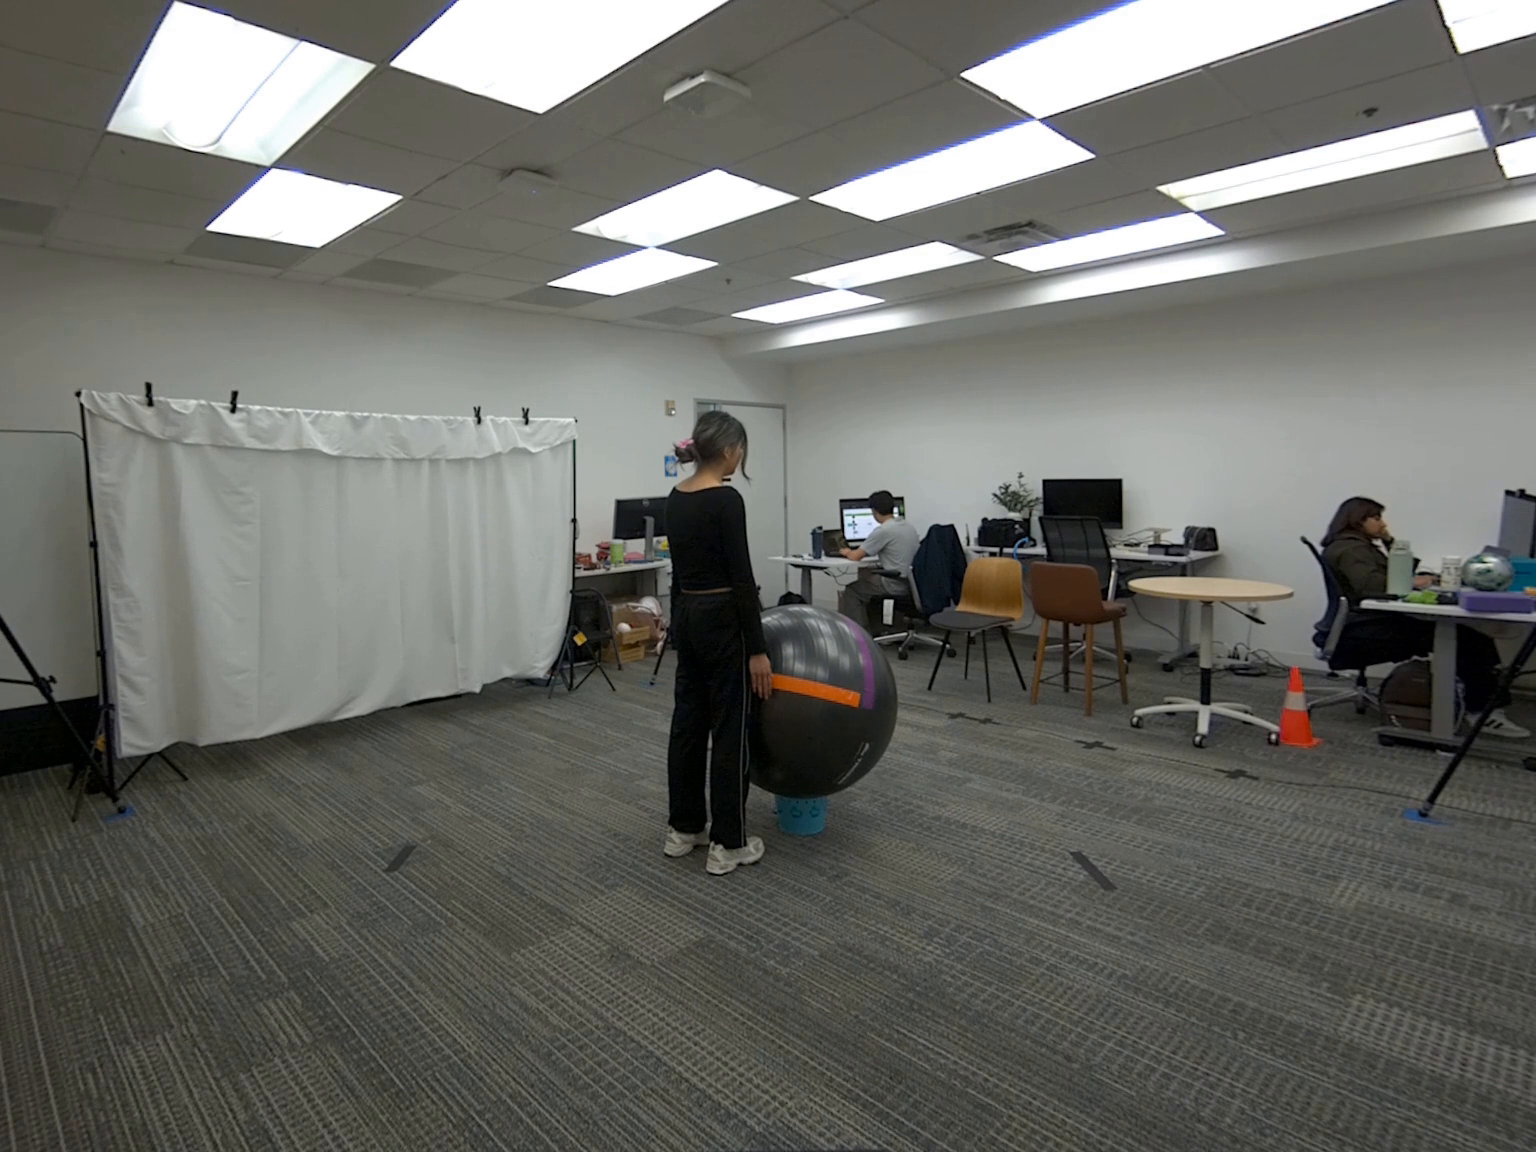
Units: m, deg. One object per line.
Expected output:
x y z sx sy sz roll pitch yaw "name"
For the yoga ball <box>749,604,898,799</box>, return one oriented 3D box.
0.127 0.501 3.415 0.757 0.755 0.762 -1 5 -2 "yoga ball"
